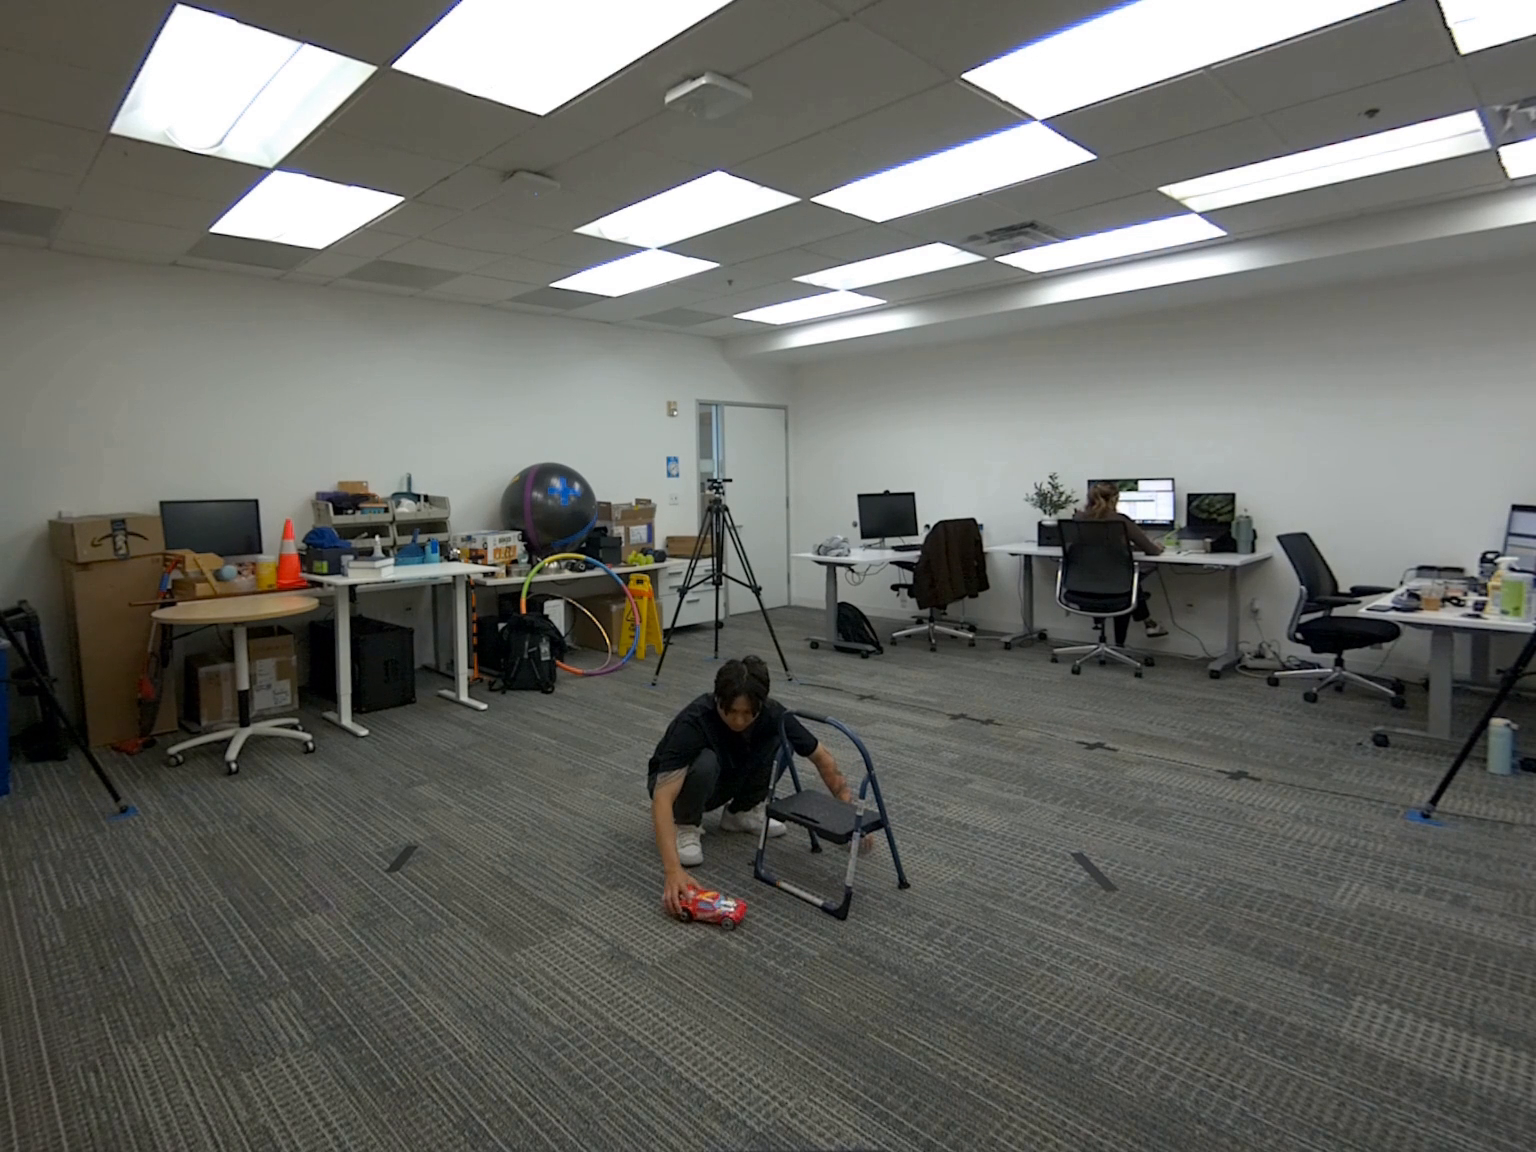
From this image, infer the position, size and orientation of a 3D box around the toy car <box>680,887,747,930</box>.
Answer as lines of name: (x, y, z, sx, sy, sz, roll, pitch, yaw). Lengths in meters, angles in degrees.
toy car: (-0.203, 1.064, 2.735, 0.260, 0.082, 0.128, 11, 11, 21)
